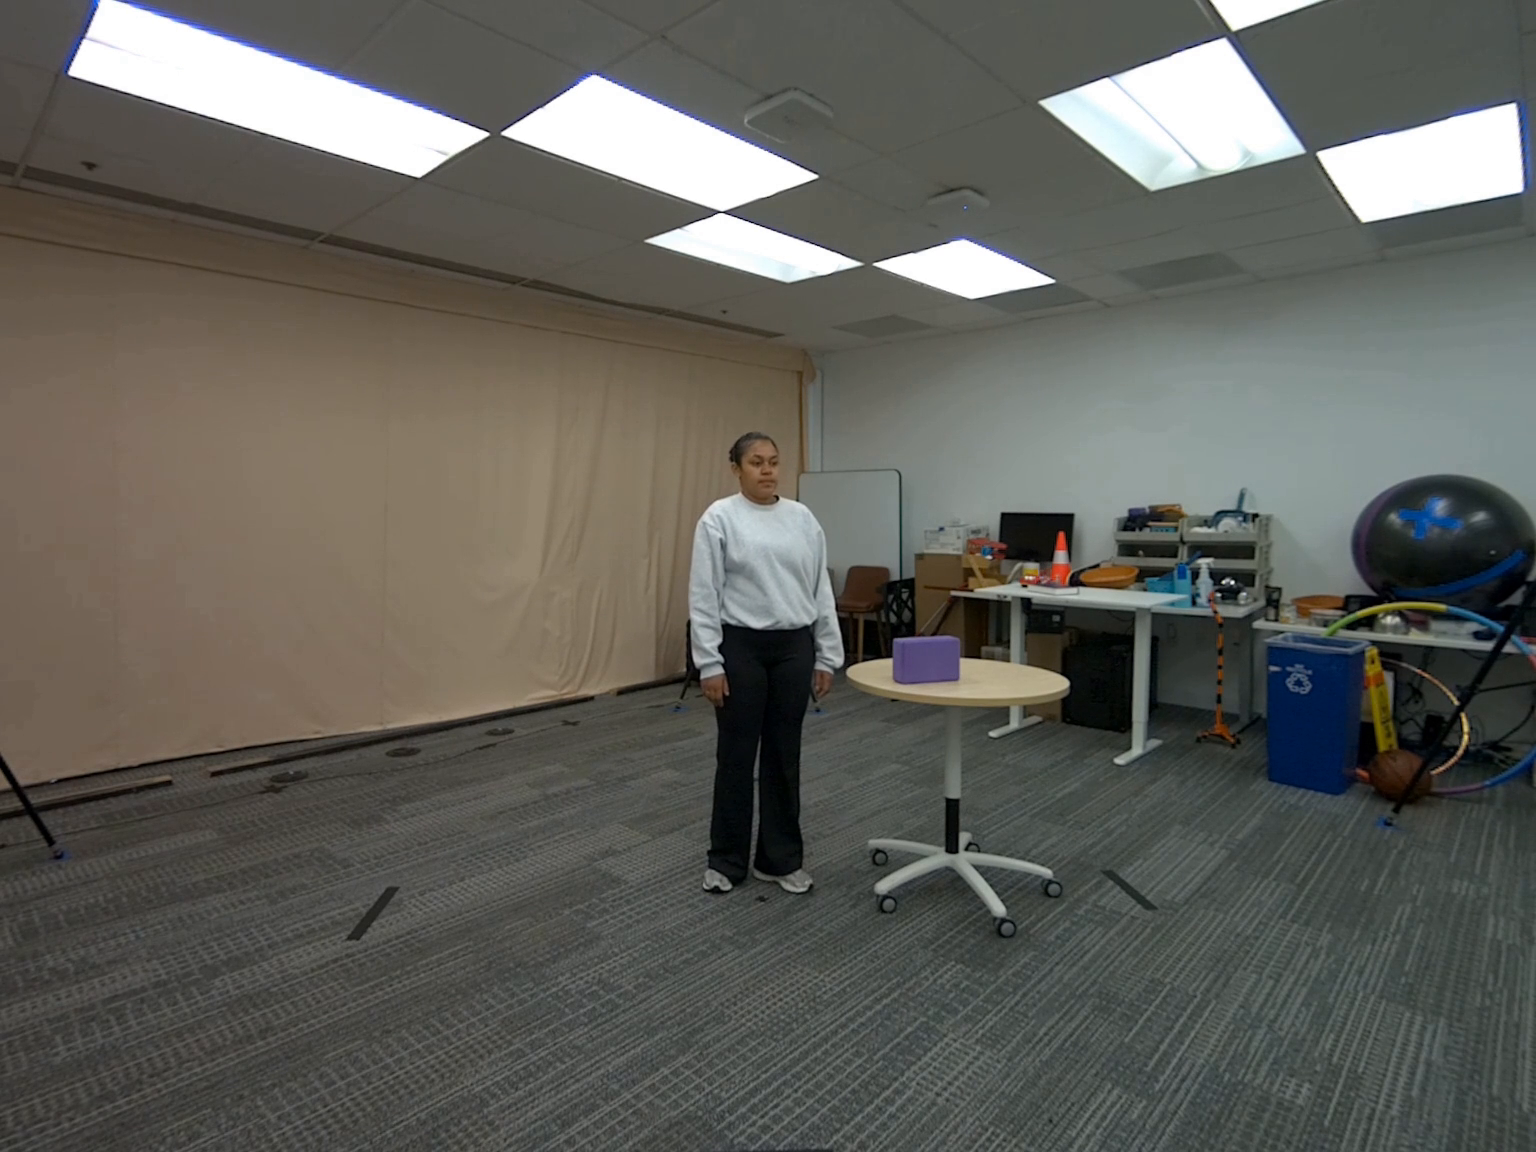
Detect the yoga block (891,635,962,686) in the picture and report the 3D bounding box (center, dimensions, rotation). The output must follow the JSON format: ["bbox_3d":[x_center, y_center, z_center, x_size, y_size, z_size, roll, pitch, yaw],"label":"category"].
[{"bbox_3d":[0.552,0.291,2.905,0.226,0.149,0.078,0,3,-14],"label":"yoga block"}]
